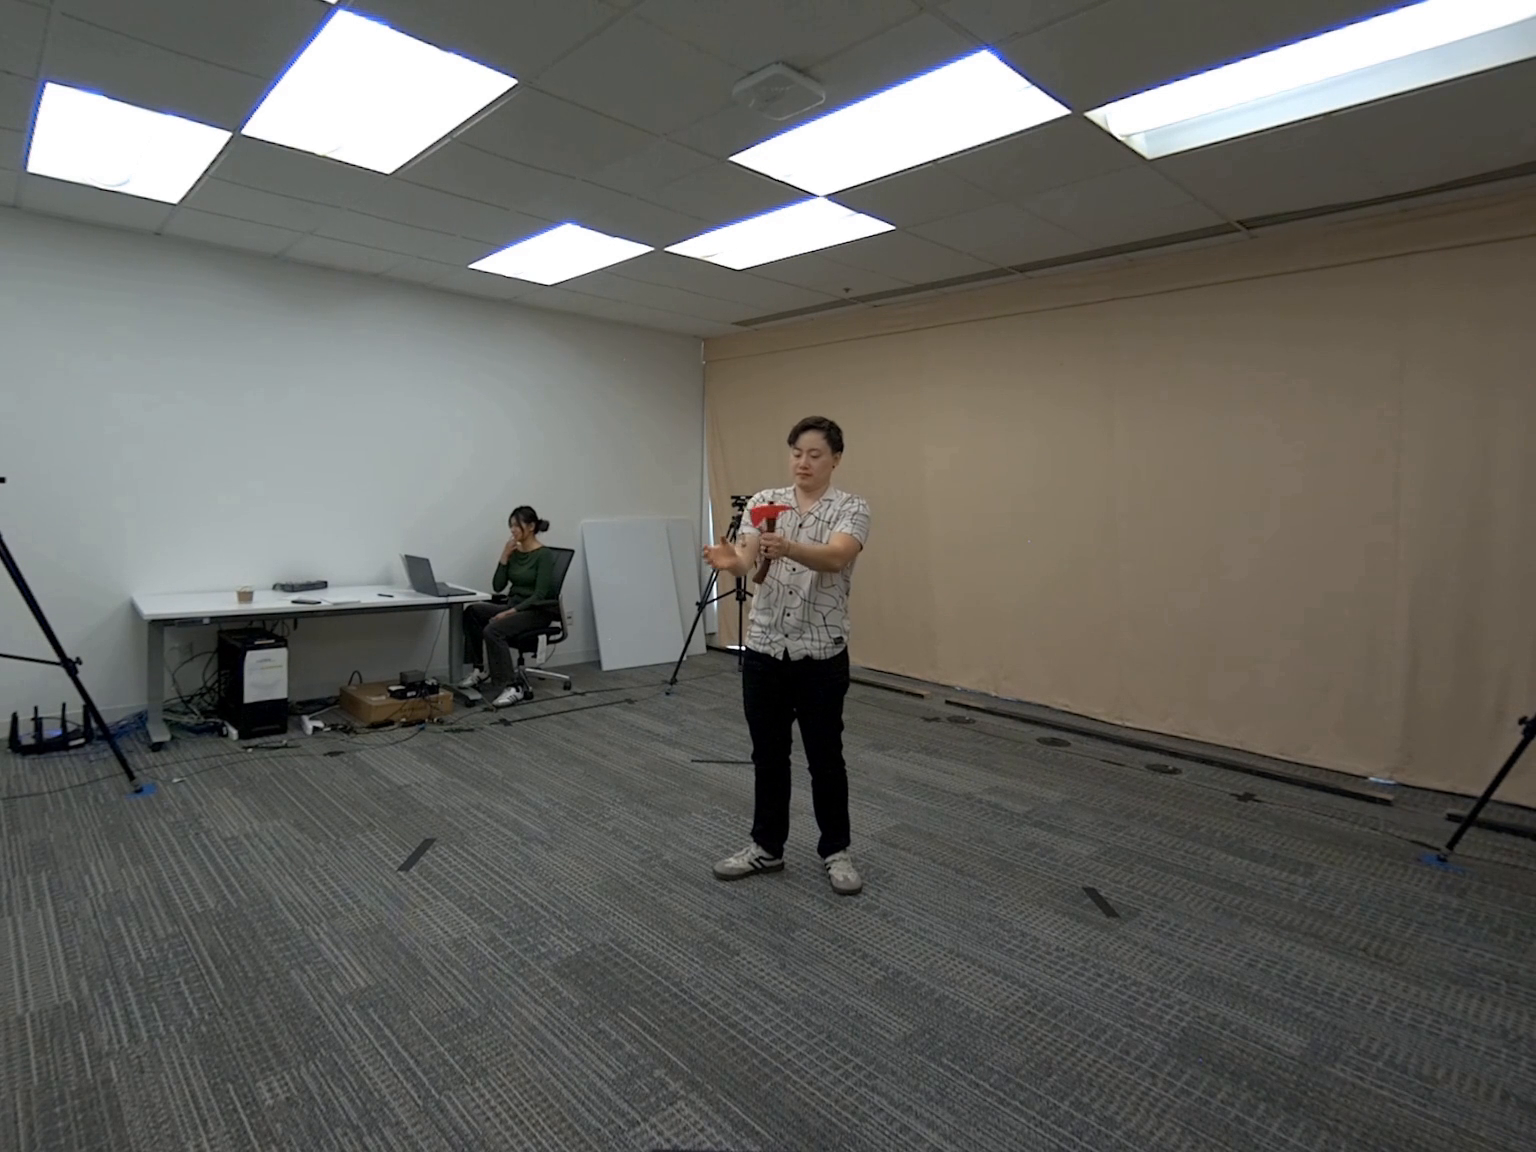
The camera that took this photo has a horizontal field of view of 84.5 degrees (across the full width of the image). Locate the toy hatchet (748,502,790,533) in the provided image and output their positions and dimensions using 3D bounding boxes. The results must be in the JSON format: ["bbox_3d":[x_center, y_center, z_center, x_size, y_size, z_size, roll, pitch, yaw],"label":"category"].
[{"bbox_3d":[-0.039,-0.095,2.580,0.128,0.268,0.030,15,17,-24],"label":"toy hatchet"}]
